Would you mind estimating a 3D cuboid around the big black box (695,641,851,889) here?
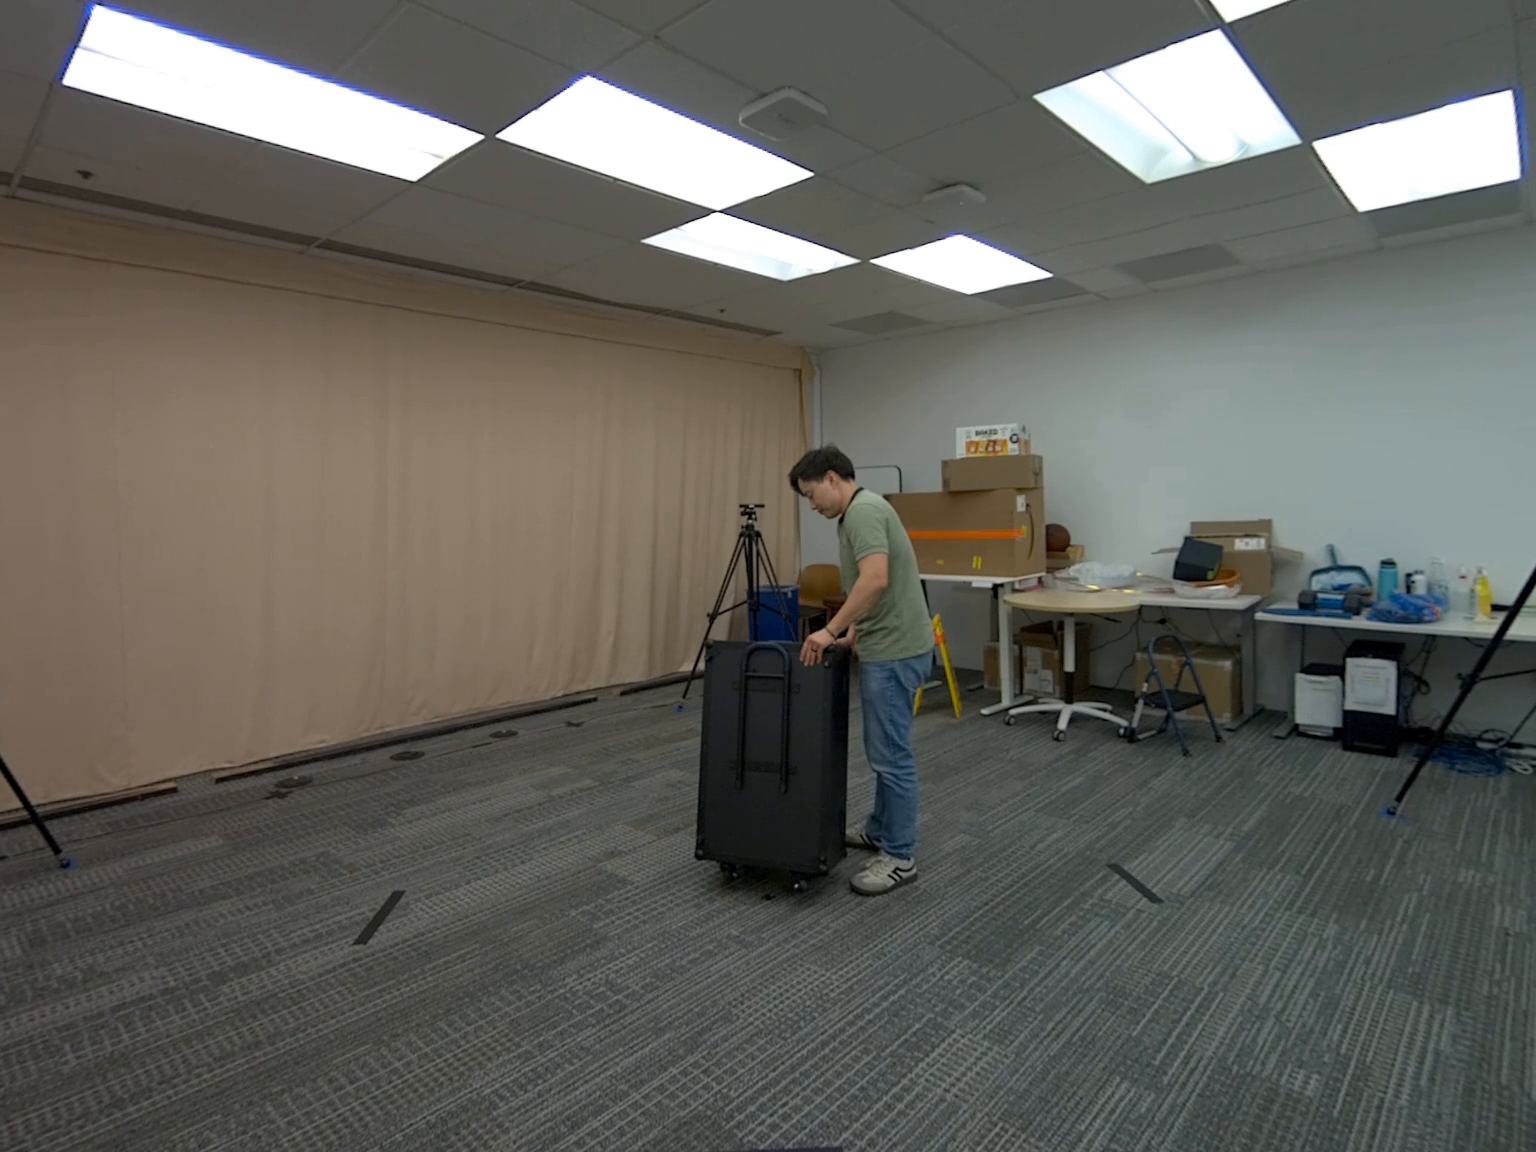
[{"bbox_3d":[0.030,0.687,3.124,0.531,0.865,0.387,0,-8,17],"label":"big black box"}]
